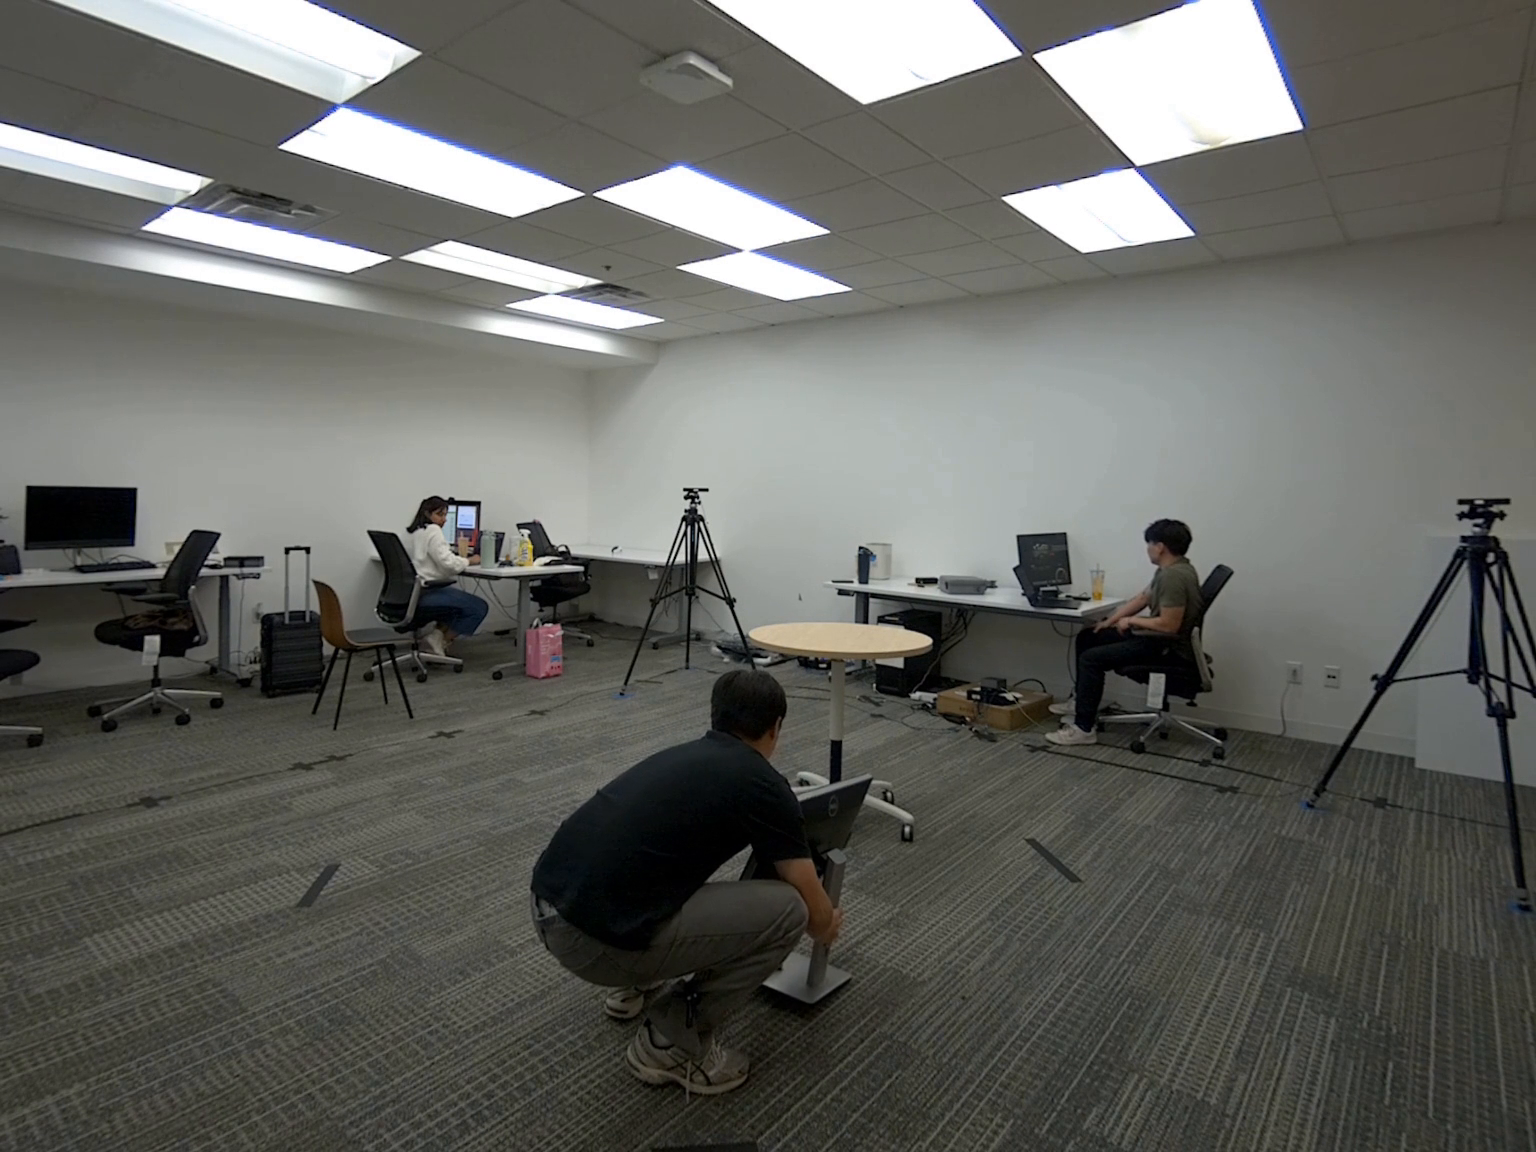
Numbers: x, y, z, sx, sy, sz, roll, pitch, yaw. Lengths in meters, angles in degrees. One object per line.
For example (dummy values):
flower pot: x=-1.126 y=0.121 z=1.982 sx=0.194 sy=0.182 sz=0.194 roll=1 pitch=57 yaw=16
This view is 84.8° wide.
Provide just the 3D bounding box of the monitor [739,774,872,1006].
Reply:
monitor: x=0.116 y=0.869 z=2.399 sx=0.229 sy=0.567 sz=0.543 roll=5 pitch=-3 yaw=33
